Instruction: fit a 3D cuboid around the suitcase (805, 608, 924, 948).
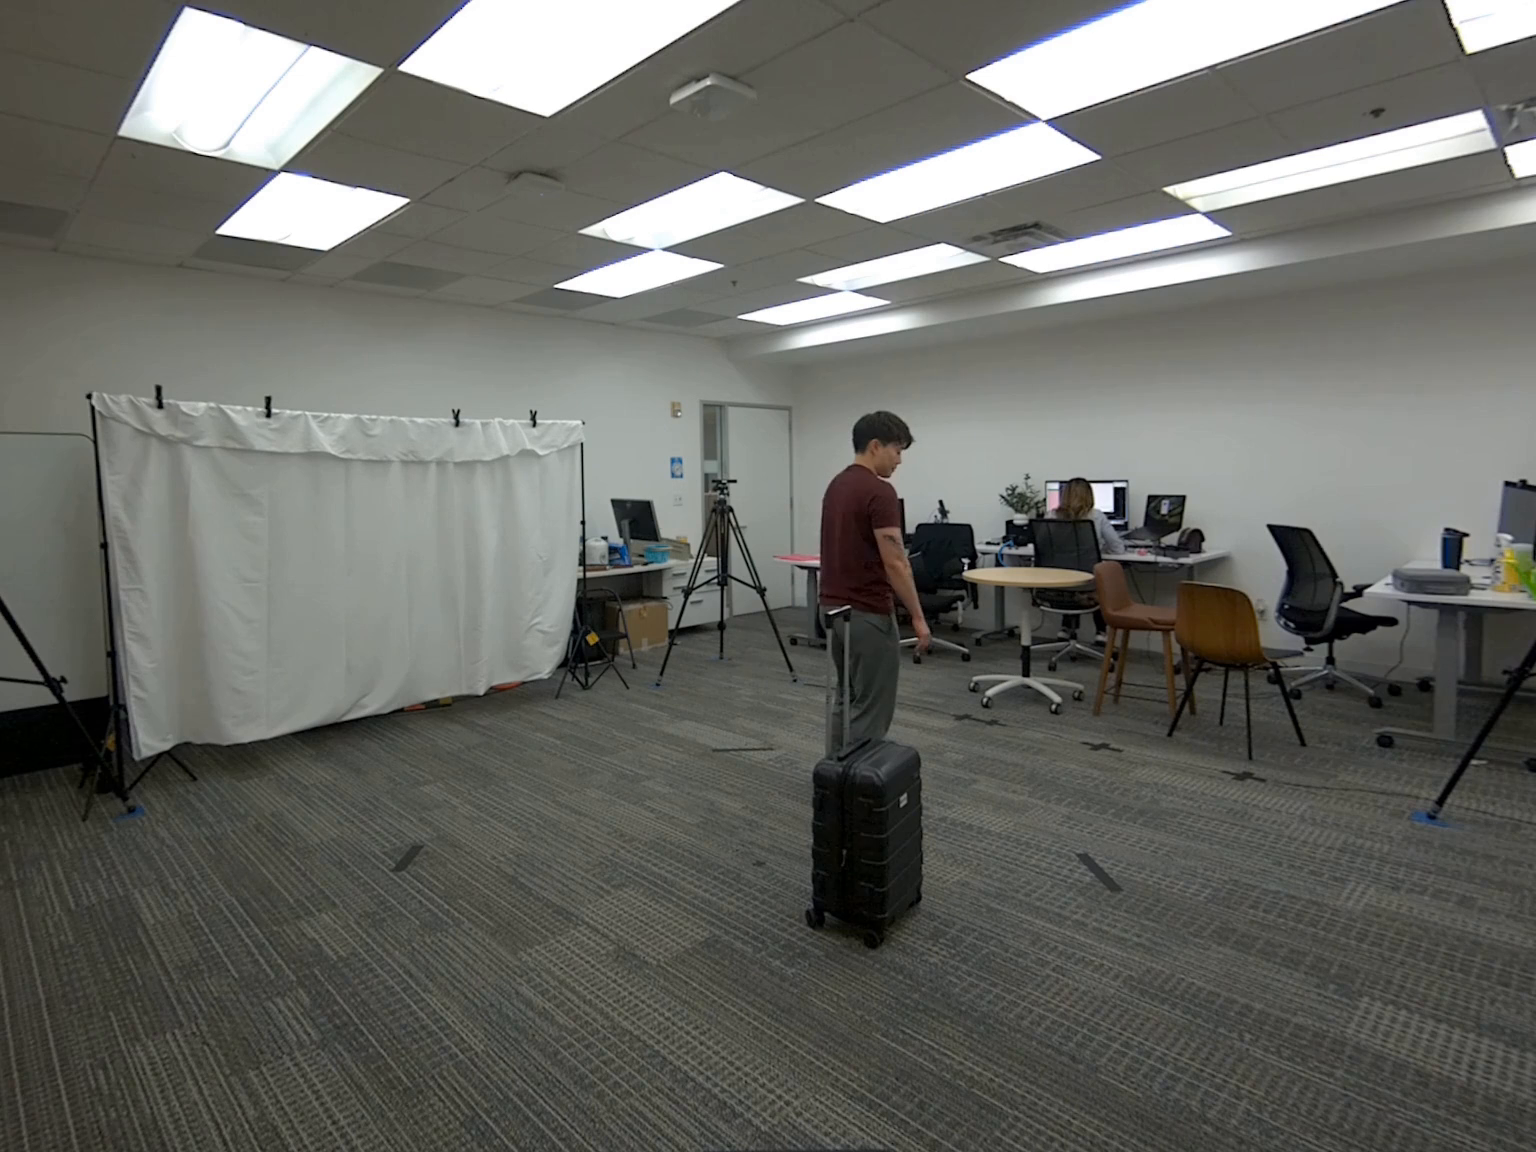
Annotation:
[{"bbox_3d":[0.324,0.609,2.686,0.264,0.974,0.375,4,7,32],"label":"suitcase"}]
